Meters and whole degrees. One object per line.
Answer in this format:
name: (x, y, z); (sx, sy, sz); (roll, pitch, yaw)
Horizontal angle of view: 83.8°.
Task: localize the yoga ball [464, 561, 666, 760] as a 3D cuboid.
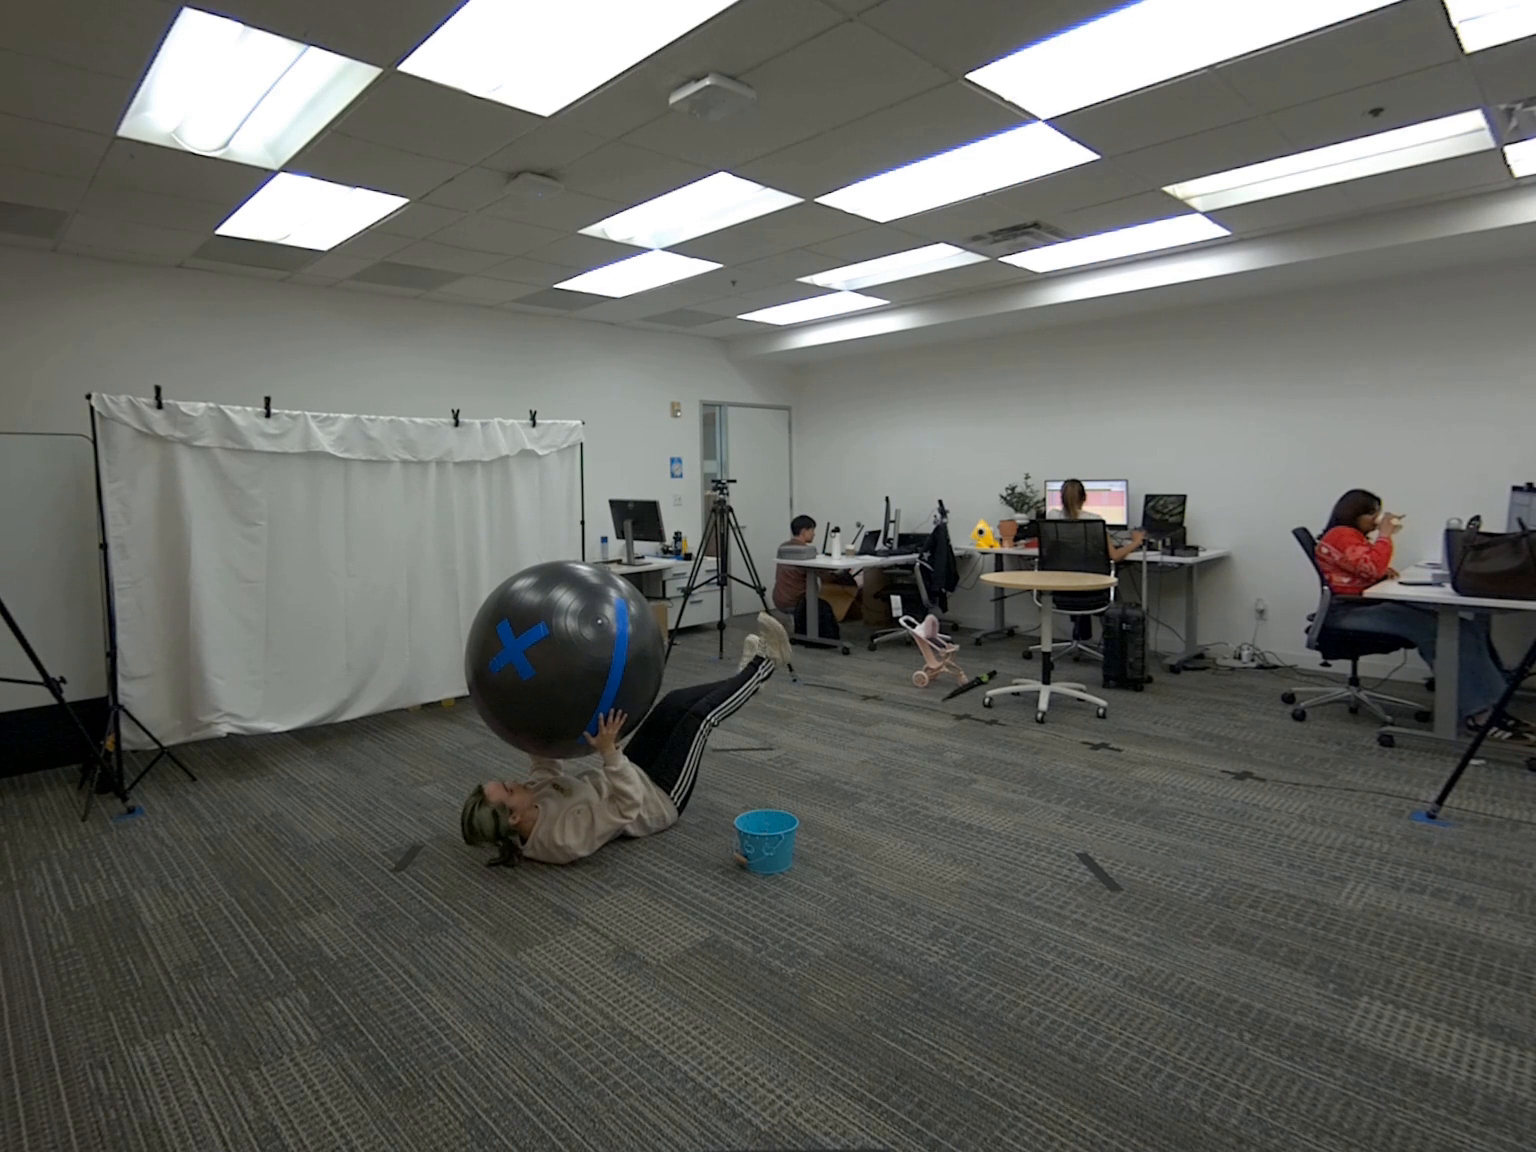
yoga ball: (-0.782, 0.320, 3.300); (0.757, 0.755, 0.762); (-1, 5, -2)
